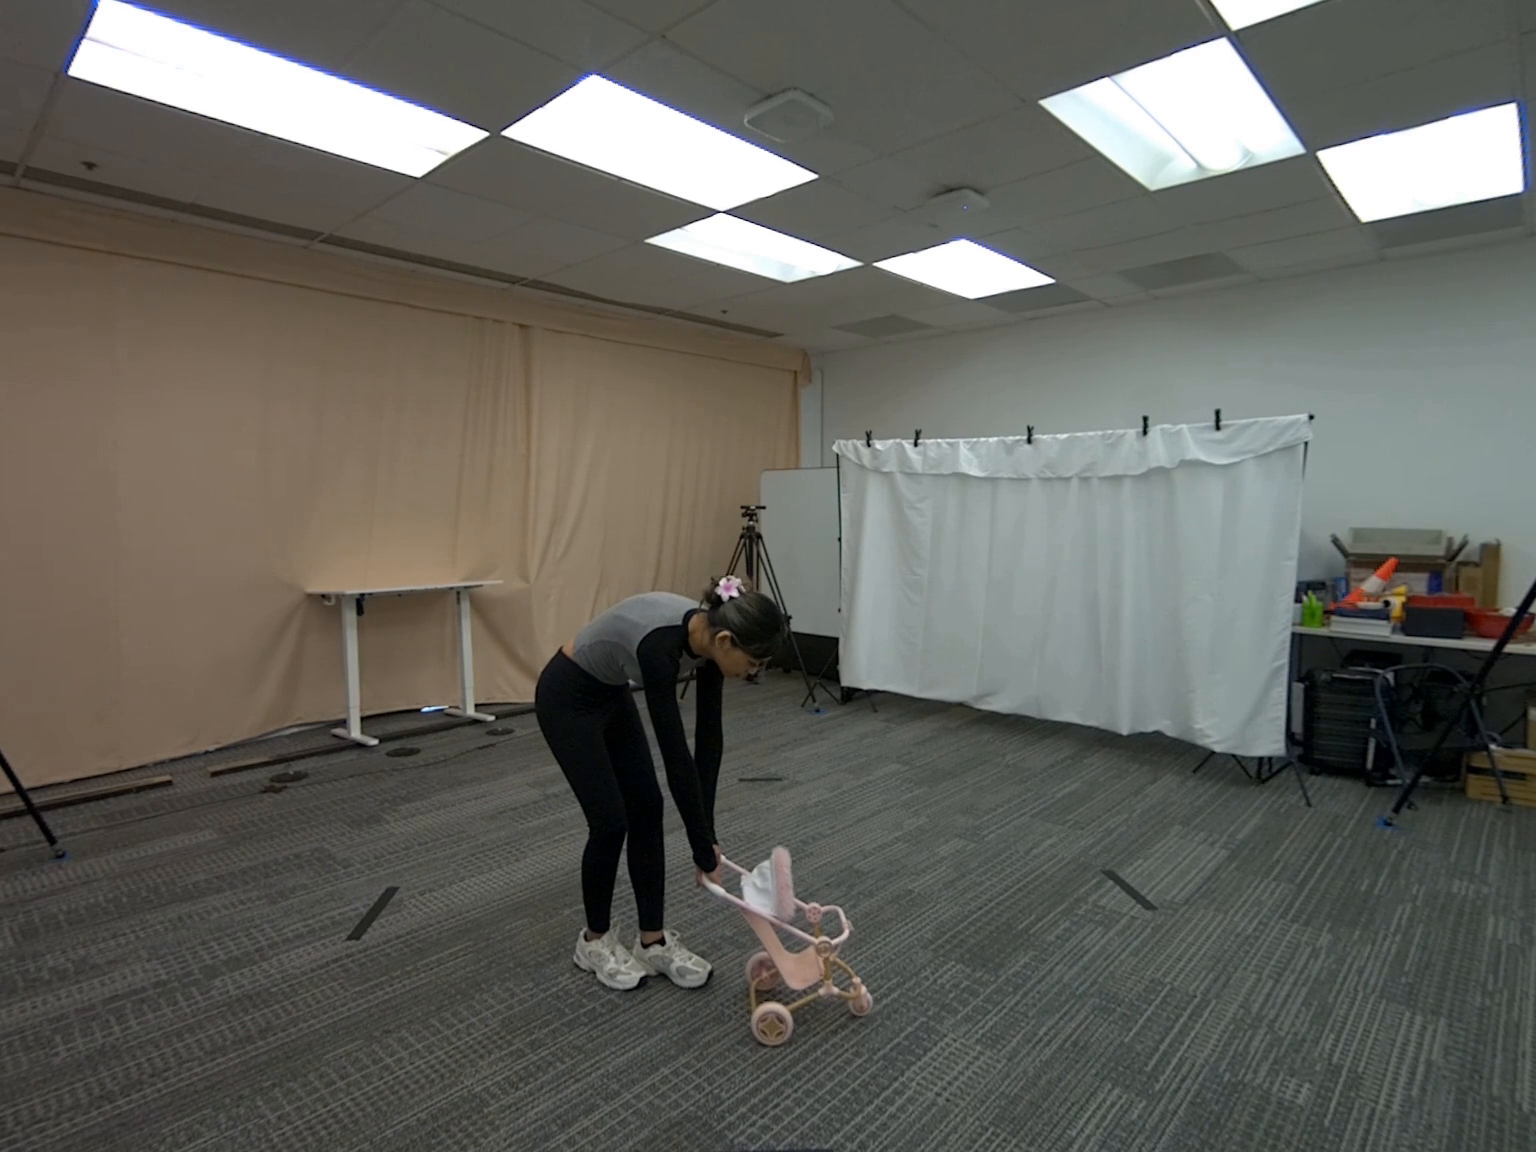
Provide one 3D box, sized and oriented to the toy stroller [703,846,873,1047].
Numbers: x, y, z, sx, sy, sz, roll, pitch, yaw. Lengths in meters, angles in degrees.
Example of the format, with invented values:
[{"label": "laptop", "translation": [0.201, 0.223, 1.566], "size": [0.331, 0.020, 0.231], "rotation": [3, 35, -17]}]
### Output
[{"label": "toy stroller", "translation": [0.066, 0.982, 2.282], "size": [0.342, 0.533, 0.281], "rotation": [-16, 3, 3]}]
